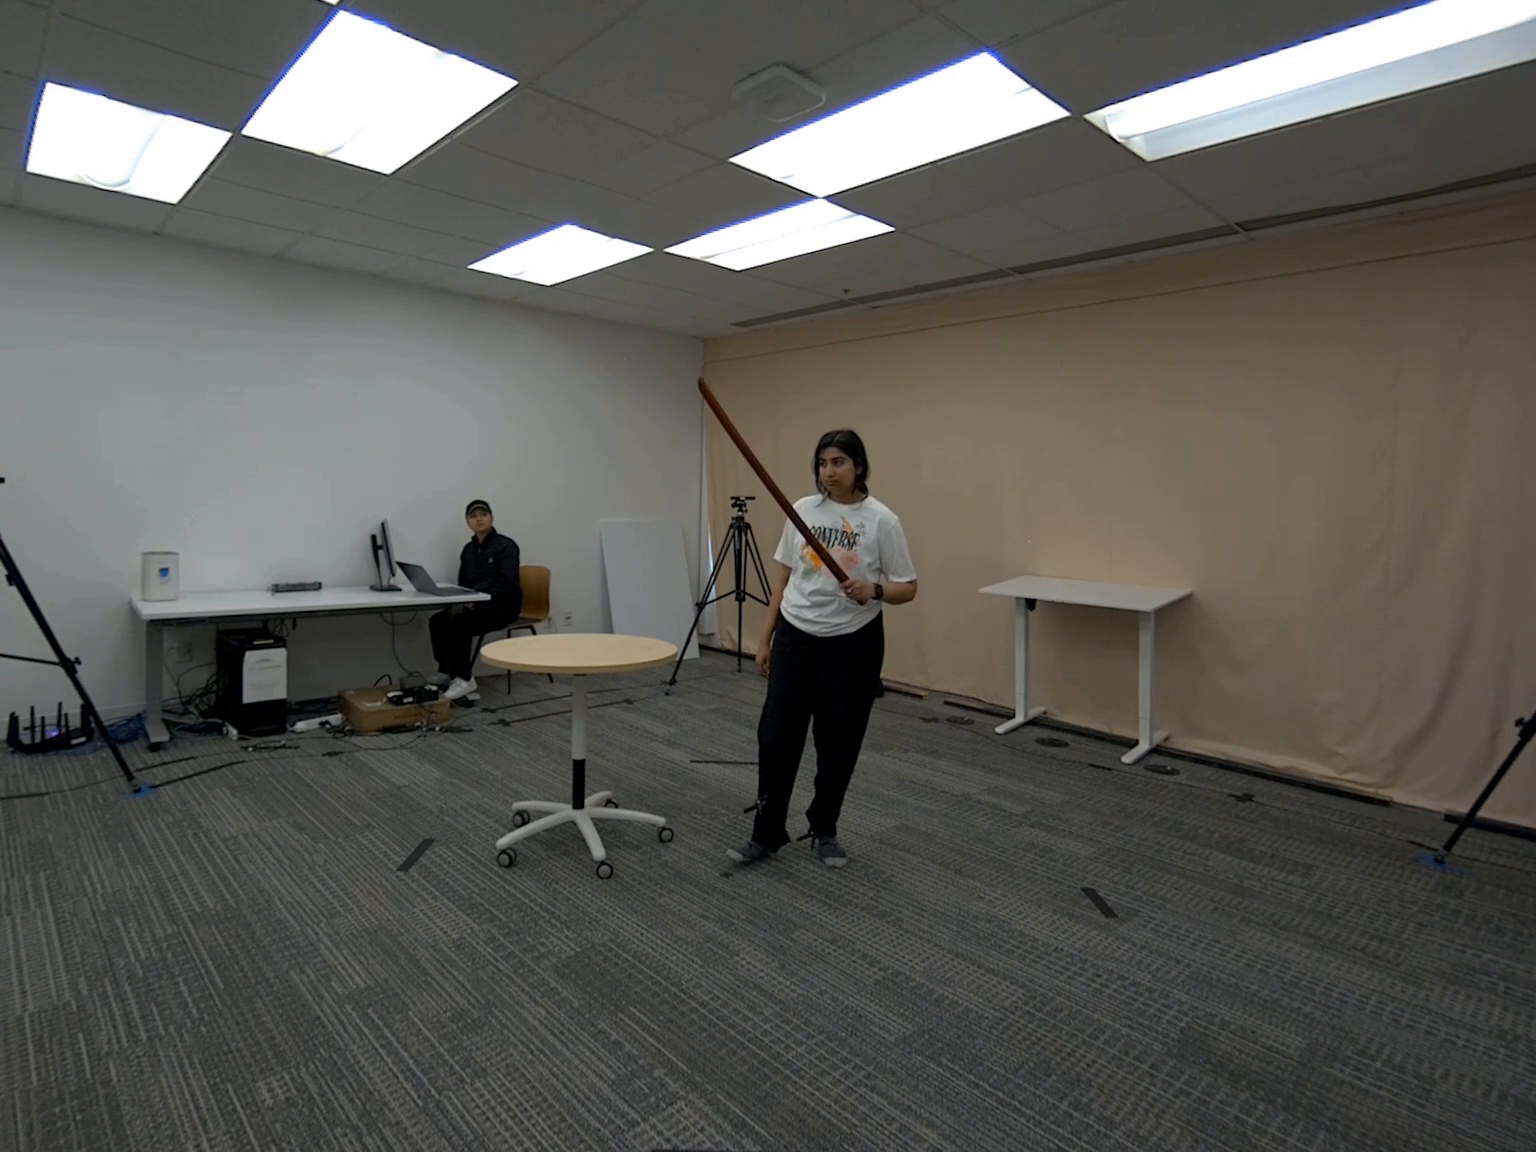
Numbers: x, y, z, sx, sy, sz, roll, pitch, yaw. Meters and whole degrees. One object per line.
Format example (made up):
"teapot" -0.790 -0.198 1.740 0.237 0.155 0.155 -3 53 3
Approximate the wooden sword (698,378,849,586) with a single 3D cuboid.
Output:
"wooden sword" 0.031 -0.258 2.853 0.052 1.001 0.024 -3 41 52
